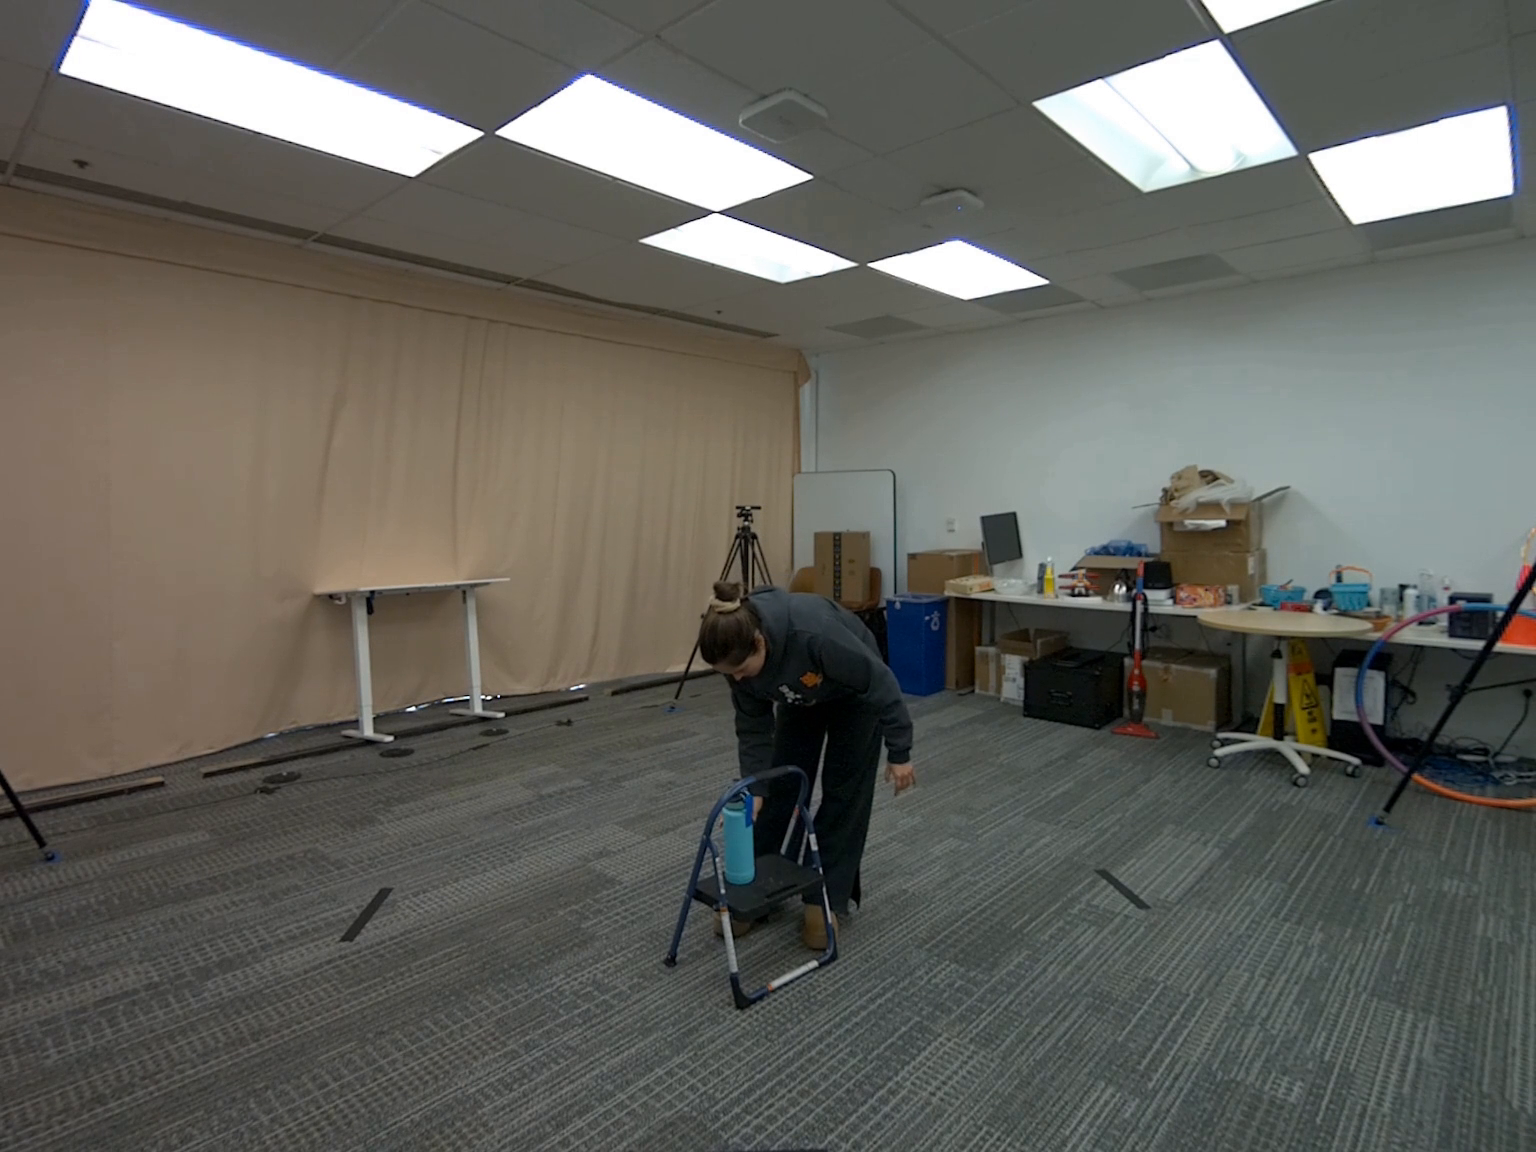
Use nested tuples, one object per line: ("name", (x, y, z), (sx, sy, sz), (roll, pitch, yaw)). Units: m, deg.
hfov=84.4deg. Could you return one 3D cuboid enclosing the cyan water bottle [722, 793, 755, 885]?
("cyan water bottle", (-0.073, 0.775, 2.540), (0.092, 0.282, 0.093), (-2, 6, -2))
